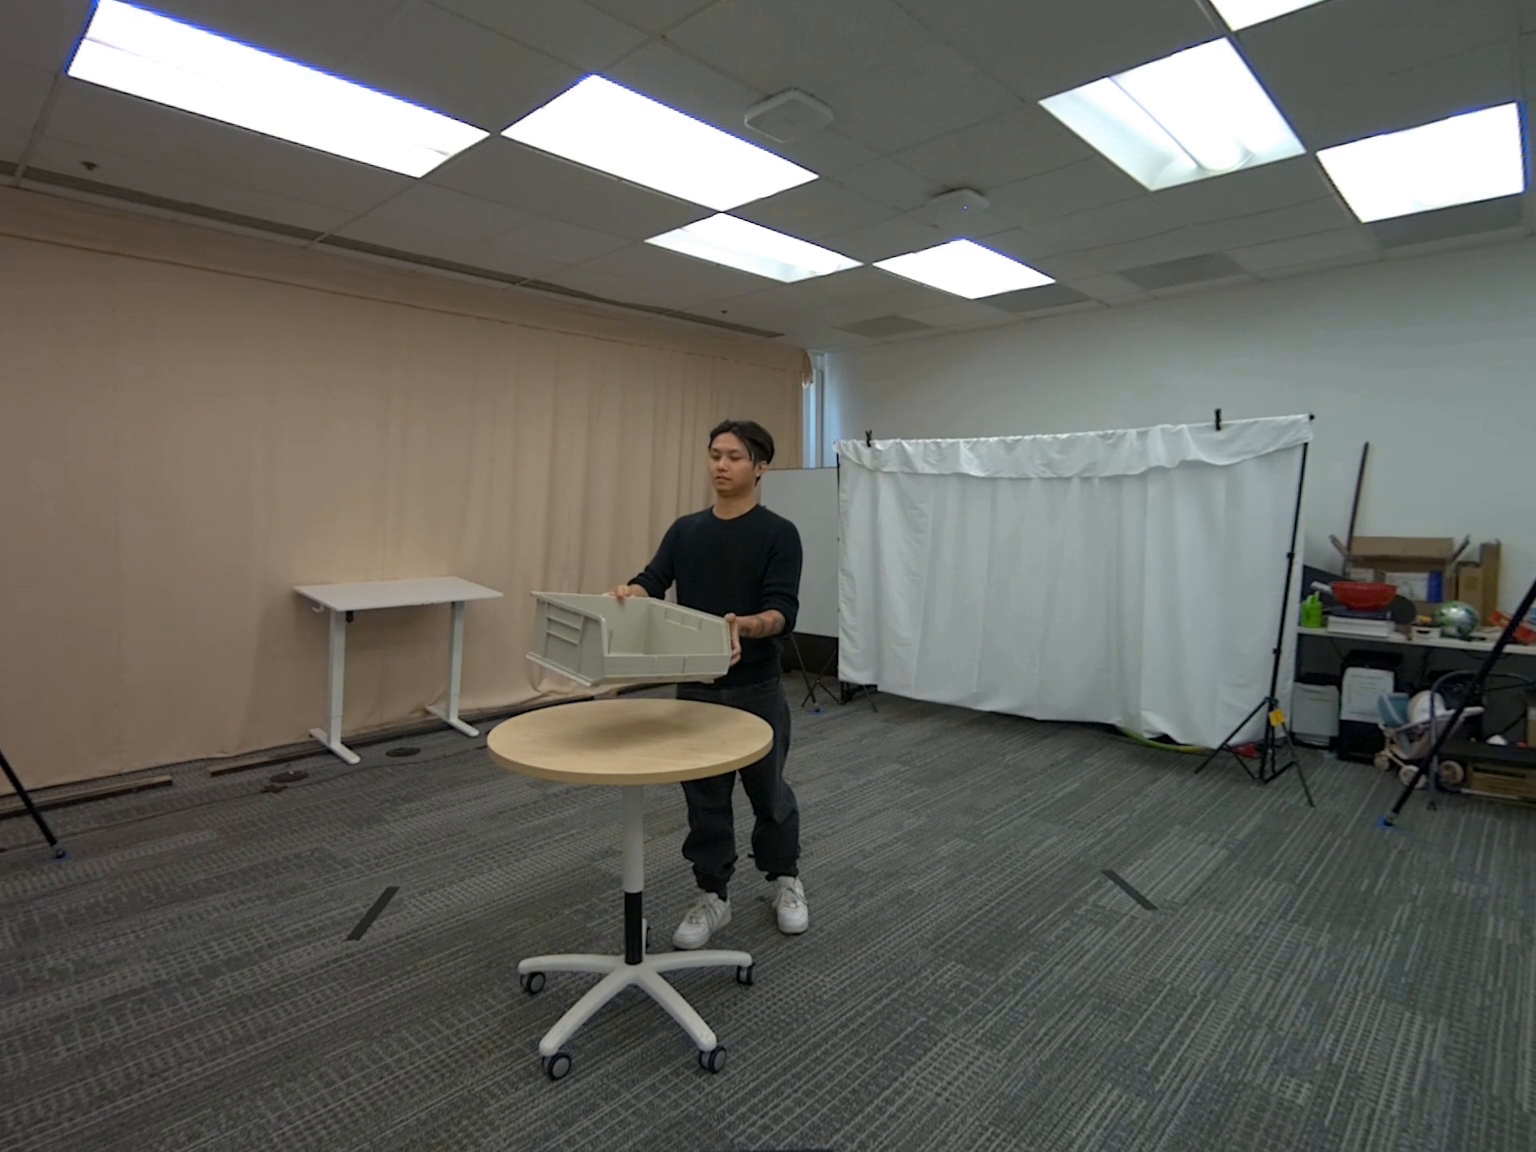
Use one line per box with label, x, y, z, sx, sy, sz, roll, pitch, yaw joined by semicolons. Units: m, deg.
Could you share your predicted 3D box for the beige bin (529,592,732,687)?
beige bin;-0.373;0.173;2.260;0.408;0.189;0.390;4;4;-44
